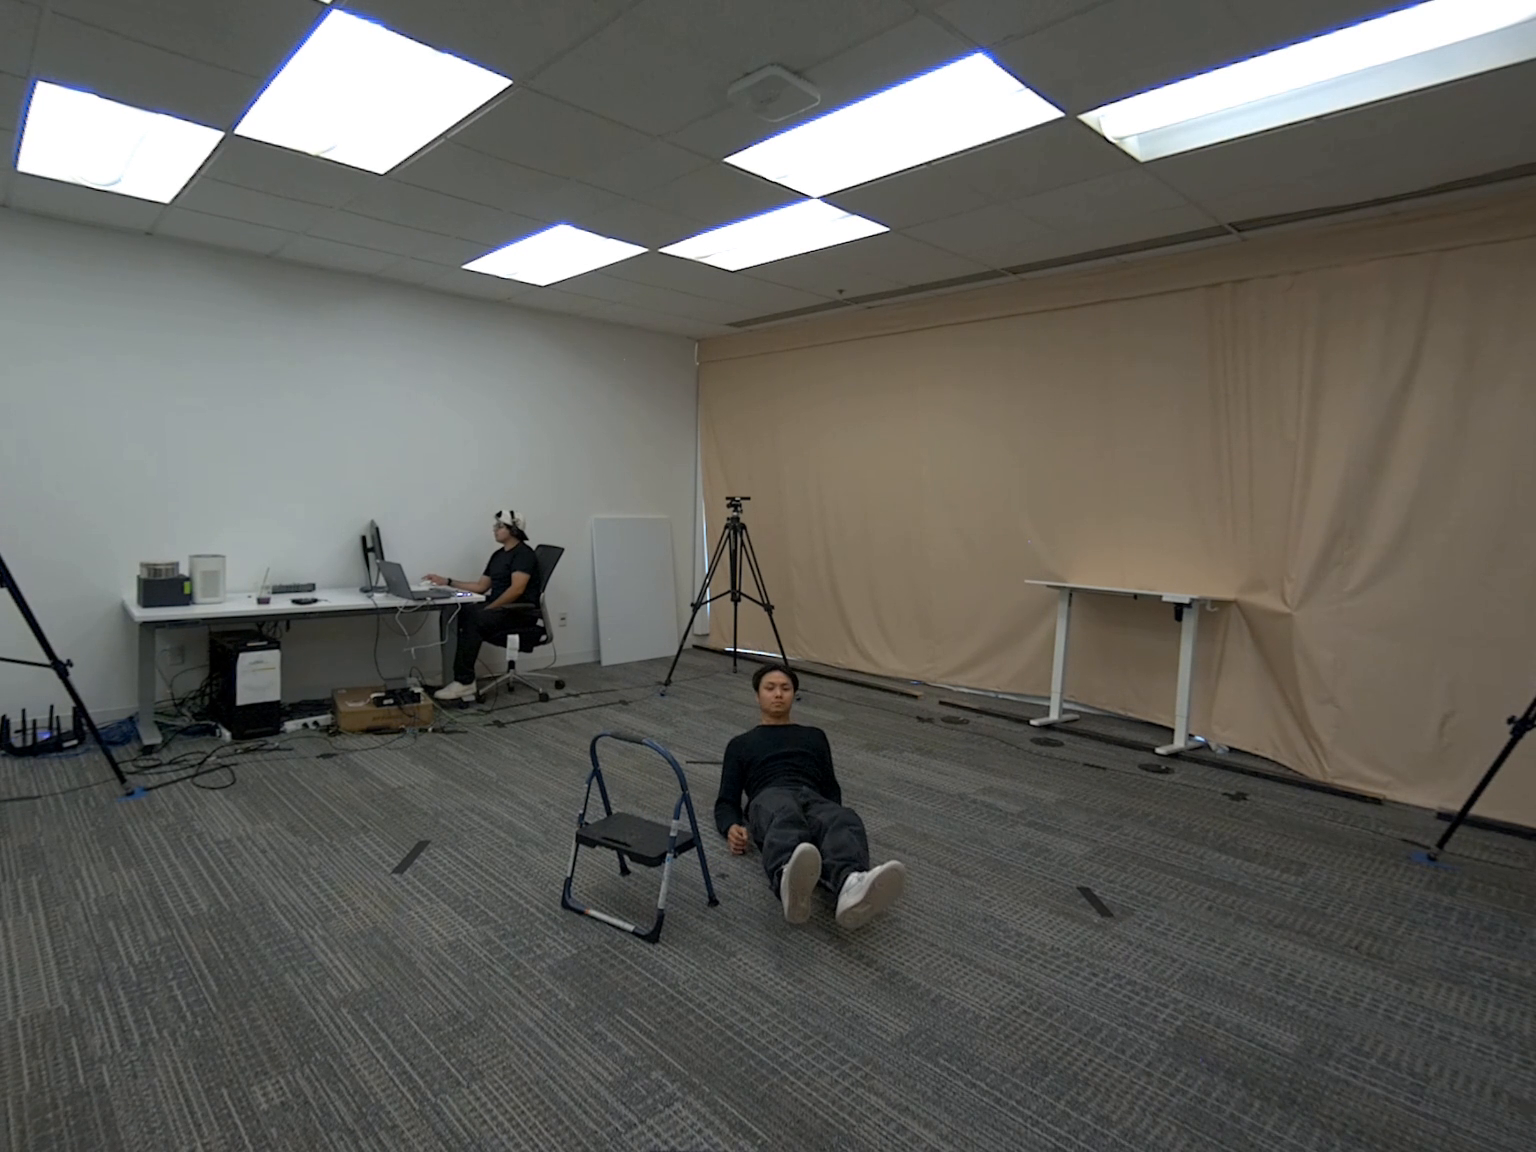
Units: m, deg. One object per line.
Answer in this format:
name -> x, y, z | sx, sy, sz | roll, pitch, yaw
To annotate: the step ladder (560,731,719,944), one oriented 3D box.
step ladder -> -0.436, 0.820, 2.849 | 0.440, 0.605, 0.342 | 4, 4, 32
